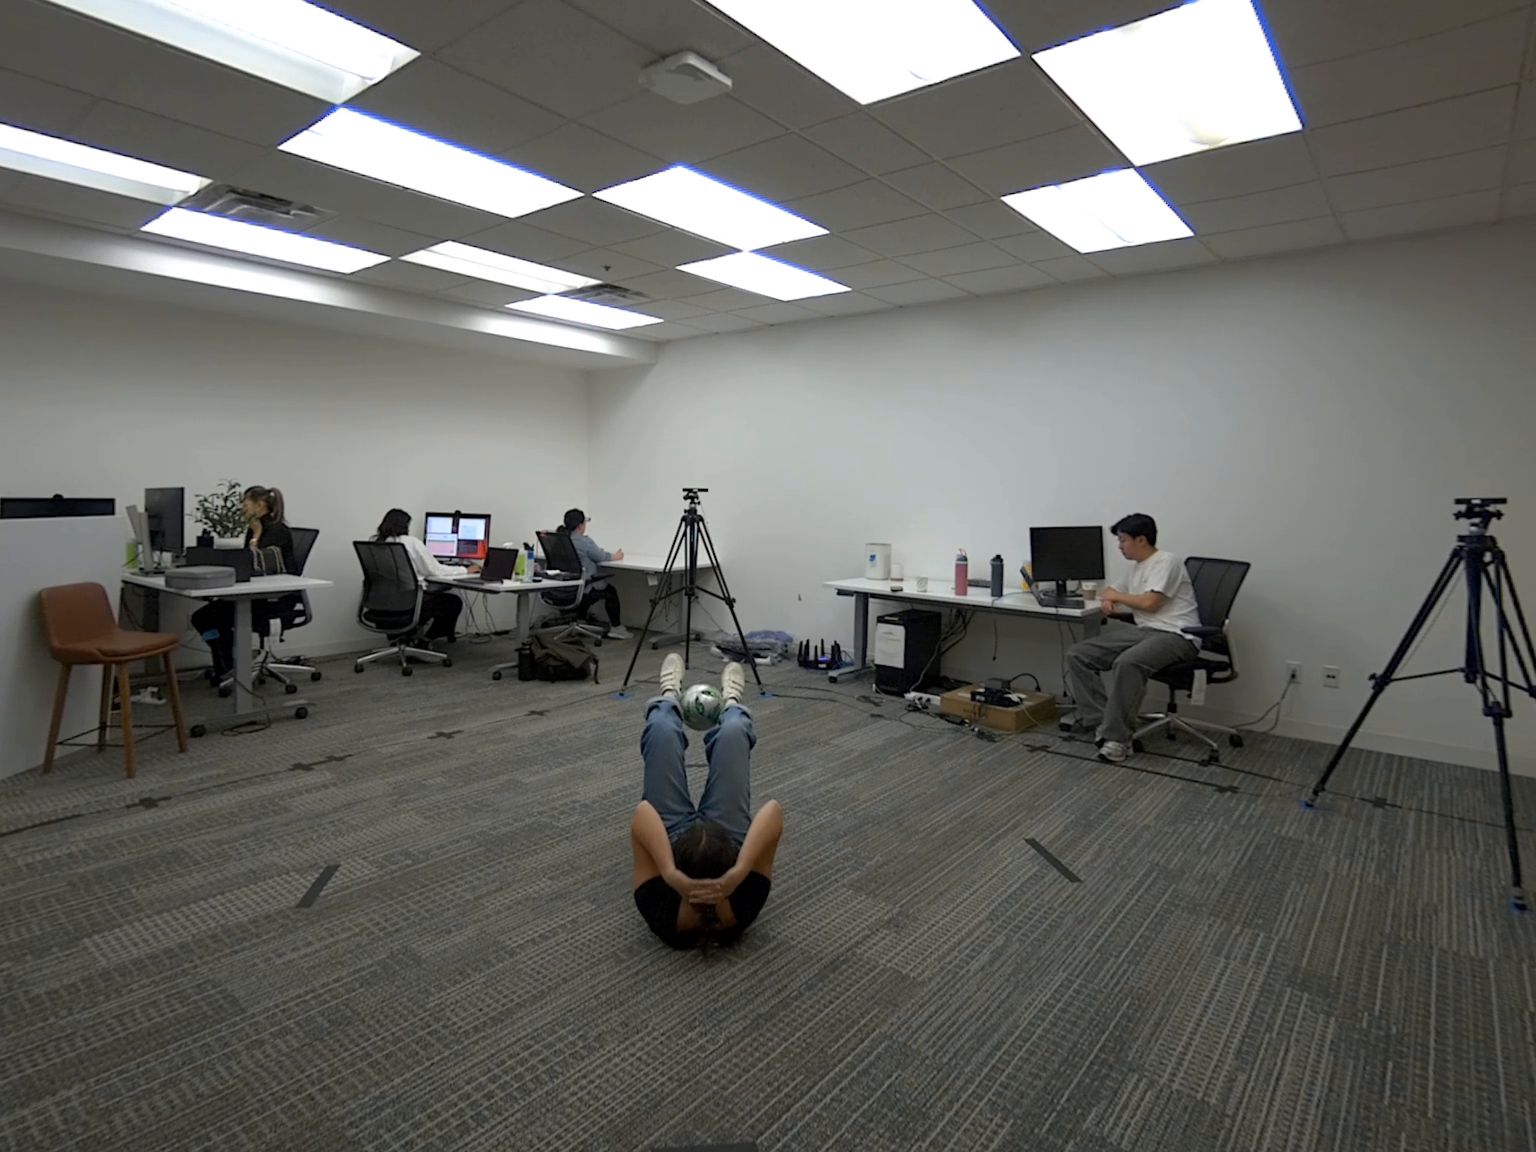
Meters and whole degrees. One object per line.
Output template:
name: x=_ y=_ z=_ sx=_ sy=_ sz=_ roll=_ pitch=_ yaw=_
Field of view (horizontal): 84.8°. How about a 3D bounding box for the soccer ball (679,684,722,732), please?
soccer ball: x=-0.275 y=0.521 z=3.419 sx=0.187 sy=0.187 sz=0.188 roll=-3 pitch=4 yaw=-2
